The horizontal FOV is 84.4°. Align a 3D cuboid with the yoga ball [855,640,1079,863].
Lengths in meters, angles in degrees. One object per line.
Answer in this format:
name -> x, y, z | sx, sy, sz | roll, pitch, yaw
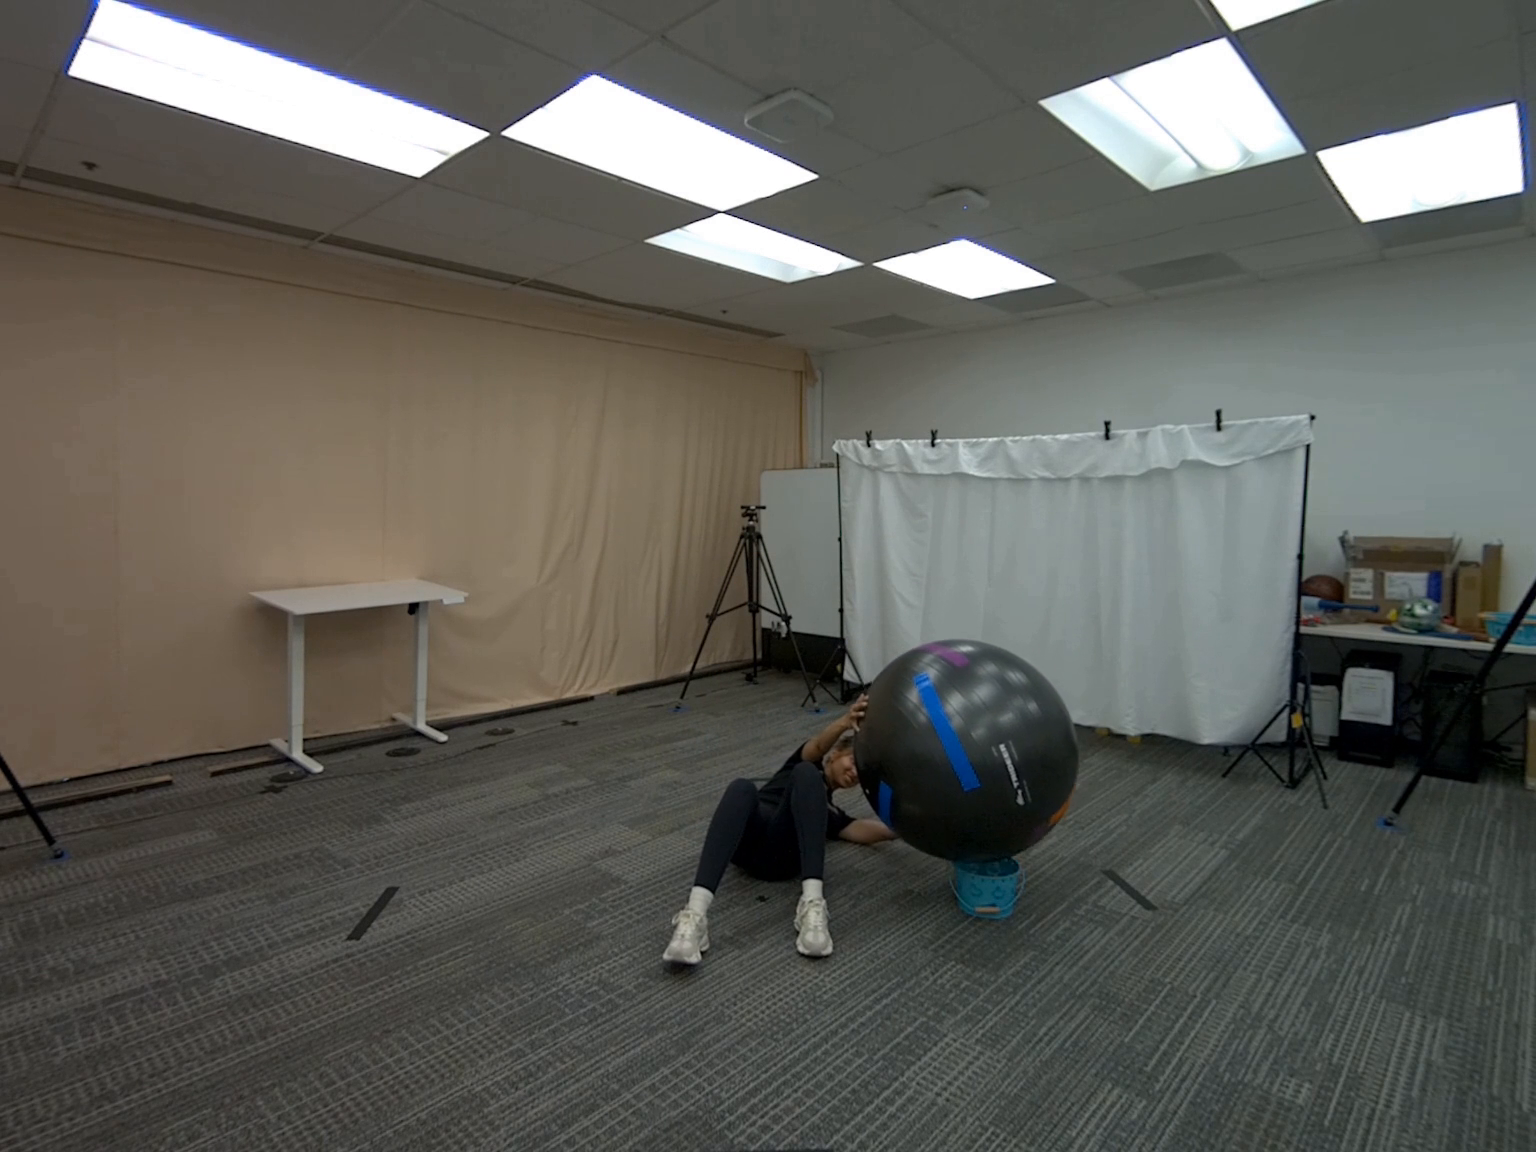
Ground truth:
yoga ball -> 0.689, 0.607, 2.954 | 0.757, 0.756, 0.760 | 0, 4, -2
